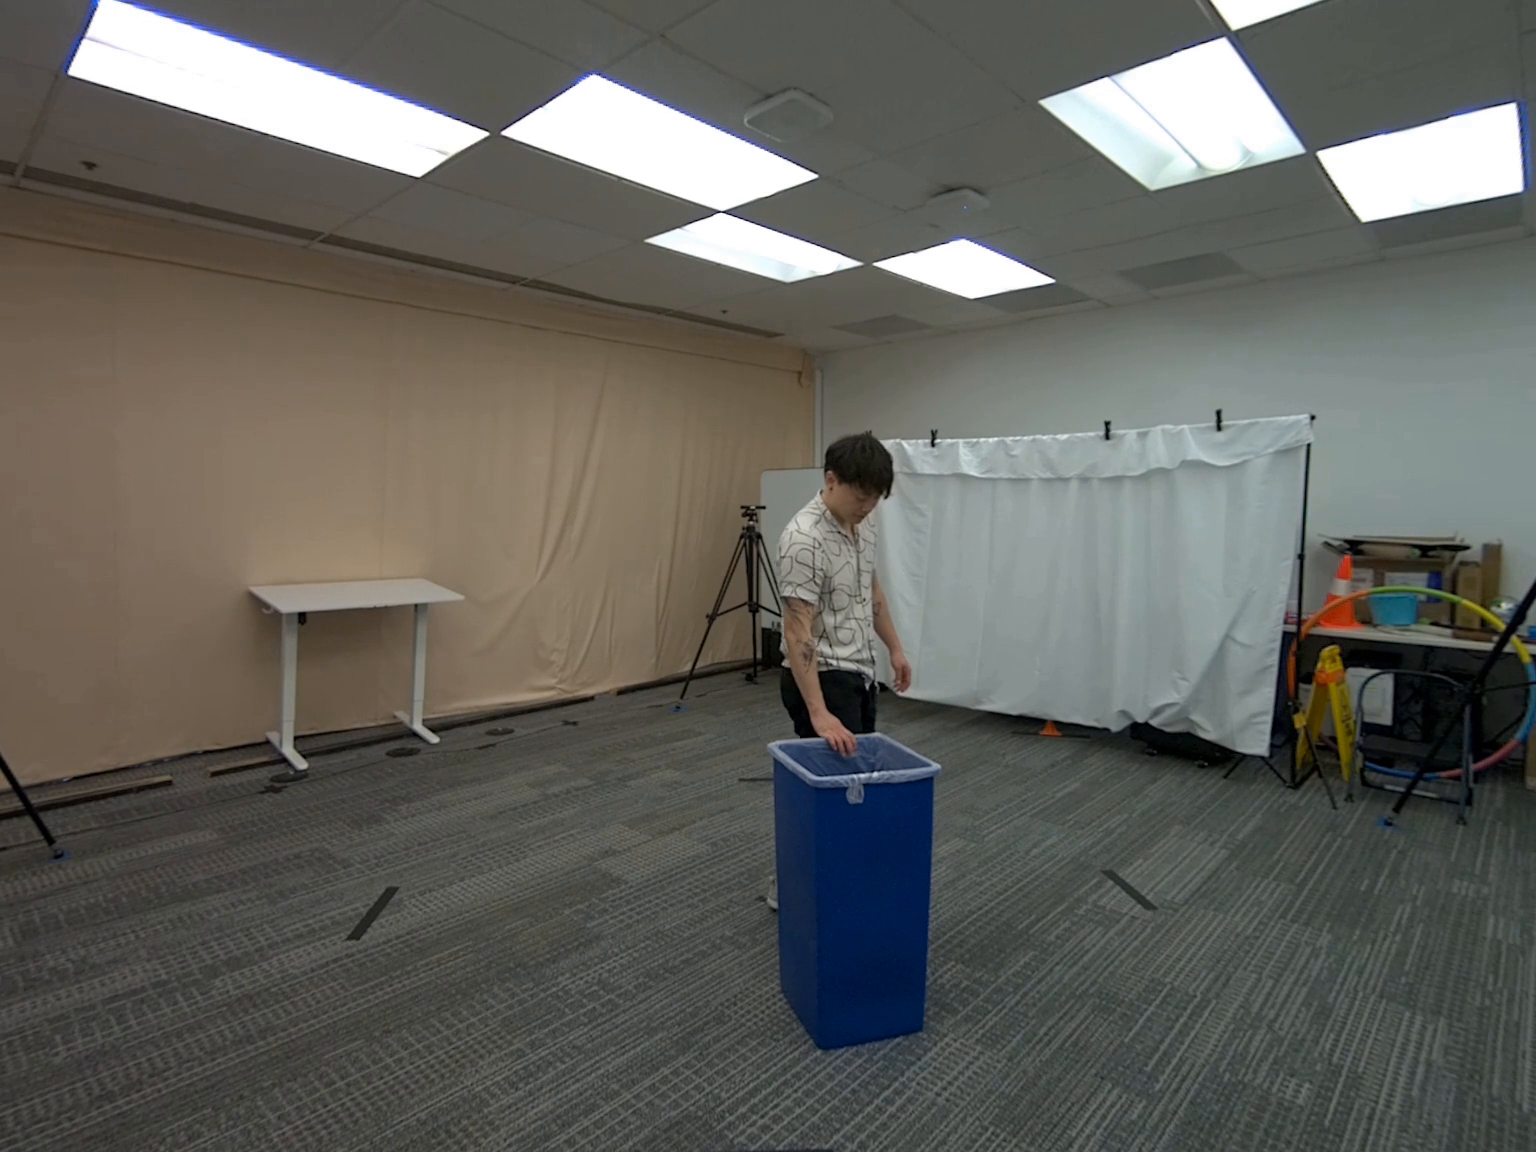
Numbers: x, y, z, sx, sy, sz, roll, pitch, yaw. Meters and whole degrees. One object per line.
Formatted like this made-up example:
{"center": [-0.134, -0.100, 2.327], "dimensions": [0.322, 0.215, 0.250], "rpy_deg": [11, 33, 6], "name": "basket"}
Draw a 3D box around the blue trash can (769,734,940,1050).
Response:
{"center": [0.221, 0.839, 2.321], "dimensions": [0.371, 0.712, 0.382], "rpy_deg": [0, 3, -19], "name": "blue trash can"}
